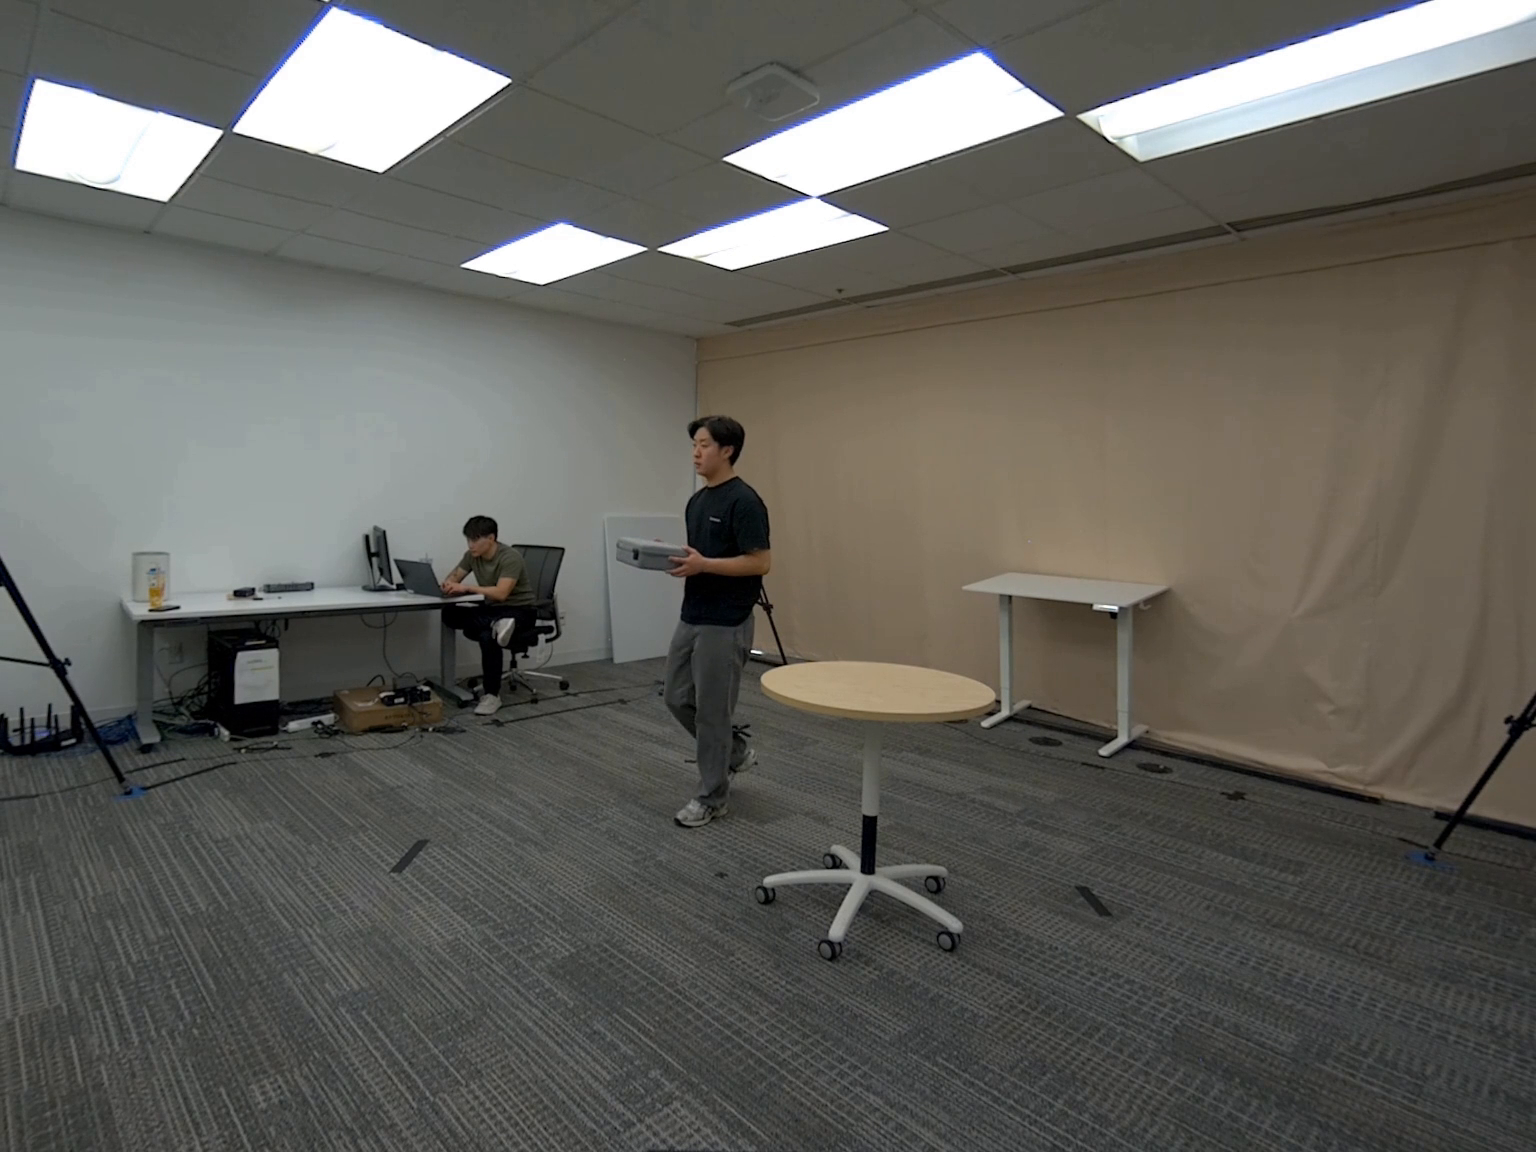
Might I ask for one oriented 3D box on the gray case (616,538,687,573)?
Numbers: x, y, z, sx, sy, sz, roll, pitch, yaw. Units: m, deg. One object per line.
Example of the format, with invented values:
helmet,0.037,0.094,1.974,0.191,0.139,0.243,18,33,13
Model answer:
gray case,-0.474,-0.087,3.500,0.281,0.103,0.270,4,7,-31
